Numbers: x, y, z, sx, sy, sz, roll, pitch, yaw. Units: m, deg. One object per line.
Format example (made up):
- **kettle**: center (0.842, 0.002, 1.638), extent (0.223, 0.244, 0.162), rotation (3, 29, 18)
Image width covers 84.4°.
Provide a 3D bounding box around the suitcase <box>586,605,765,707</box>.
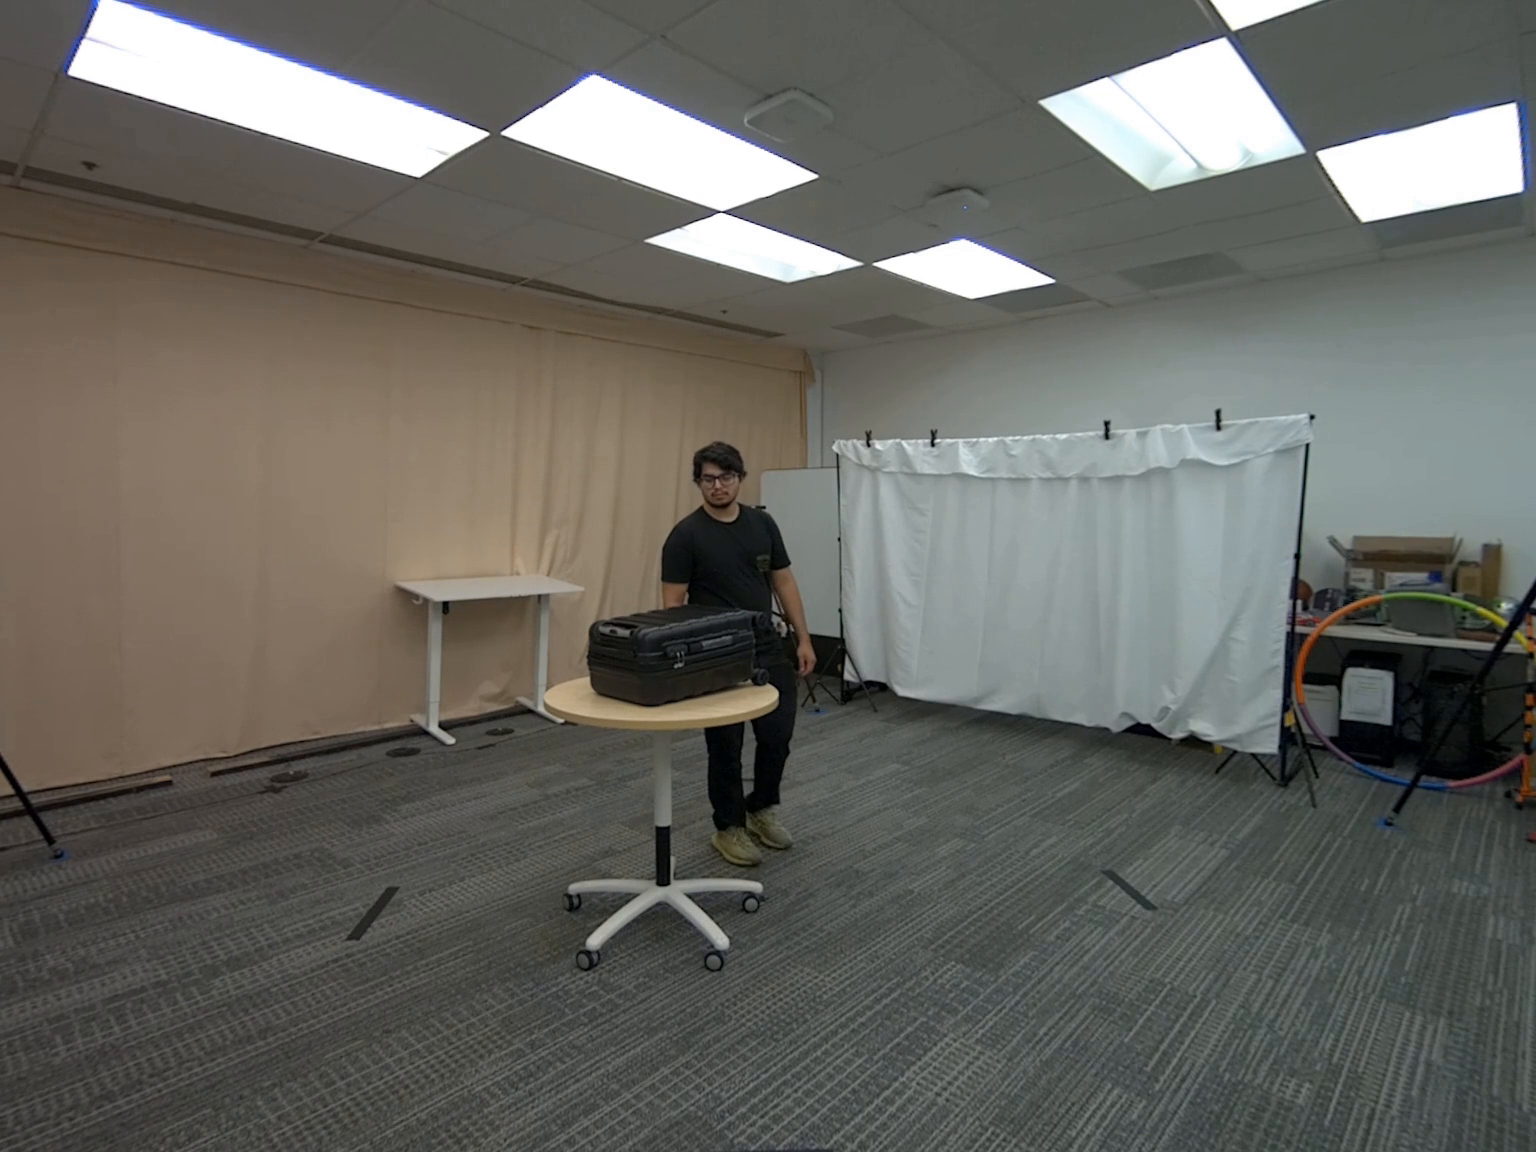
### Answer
- **suitcase**: center (-0.306, 0.254, 2.793), extent (0.388, 0.247, 0.533), rotation (3, 7, 41)
